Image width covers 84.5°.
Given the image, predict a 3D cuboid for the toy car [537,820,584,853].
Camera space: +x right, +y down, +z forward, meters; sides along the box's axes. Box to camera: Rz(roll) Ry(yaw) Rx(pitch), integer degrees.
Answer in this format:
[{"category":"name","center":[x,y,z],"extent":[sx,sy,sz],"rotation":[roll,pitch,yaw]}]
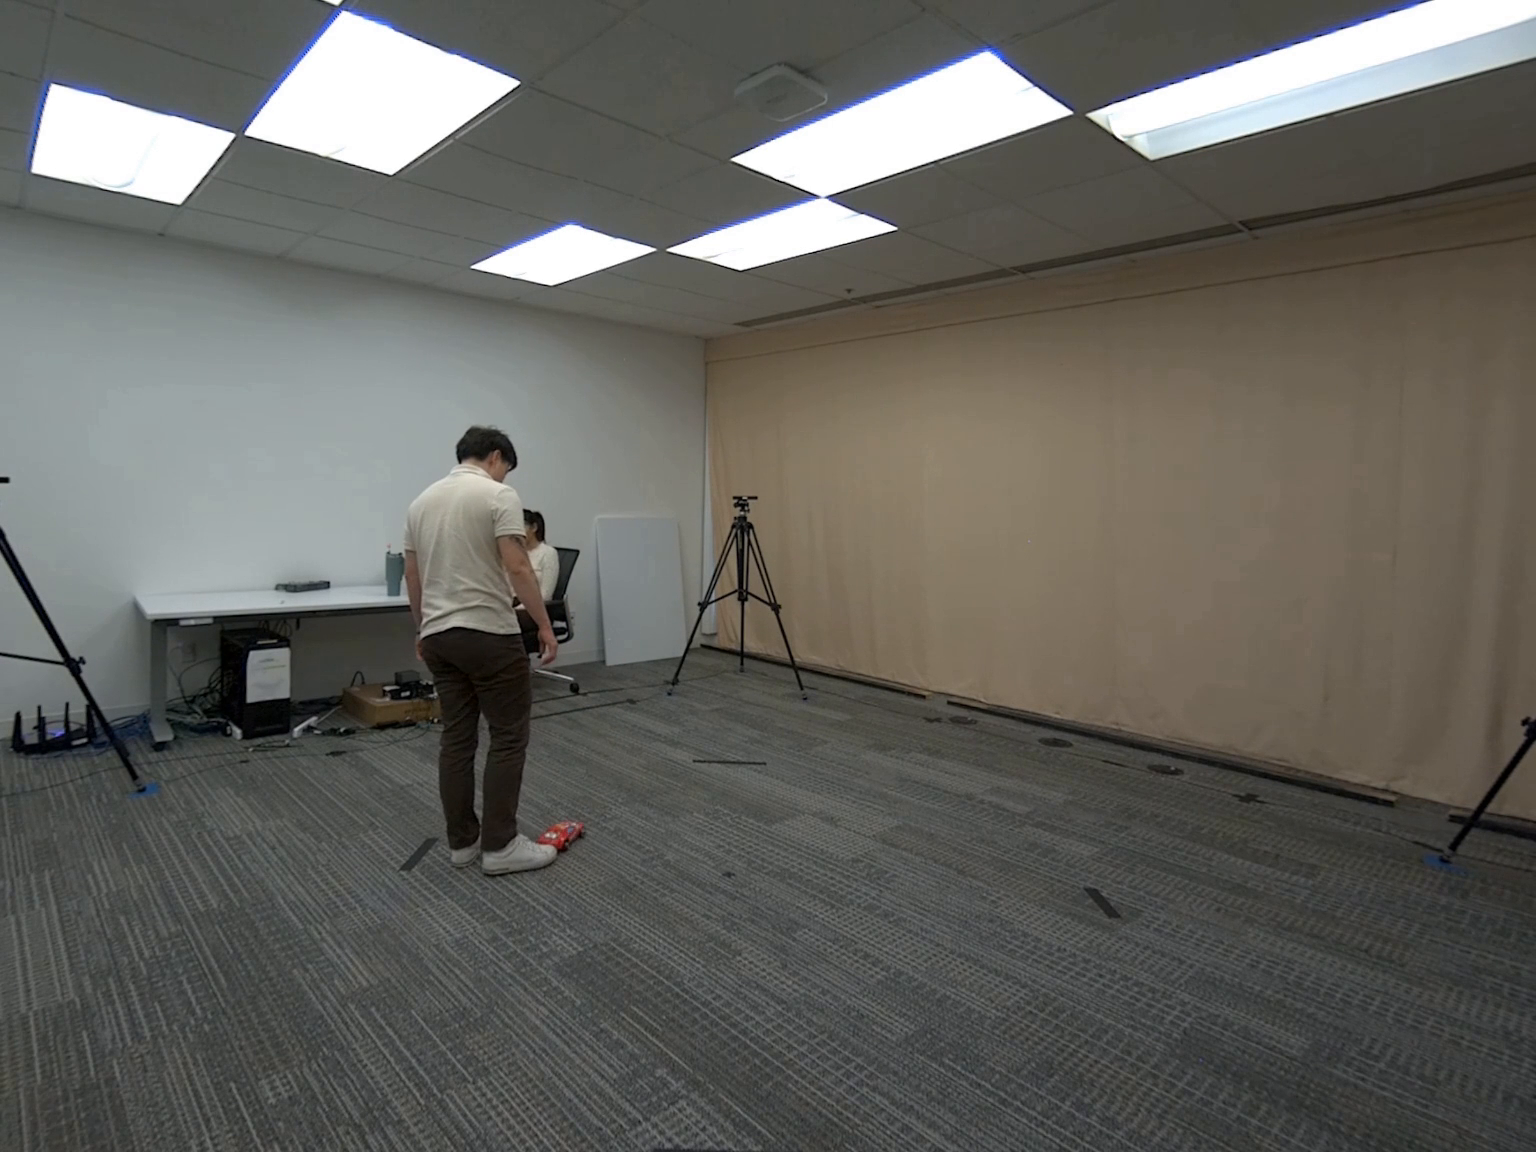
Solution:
[{"category":"toy car","center":[-0.835,1.036,3.337],"extent":[0.132,0.083,0.250],"rotation":[2,-6,15]}]
